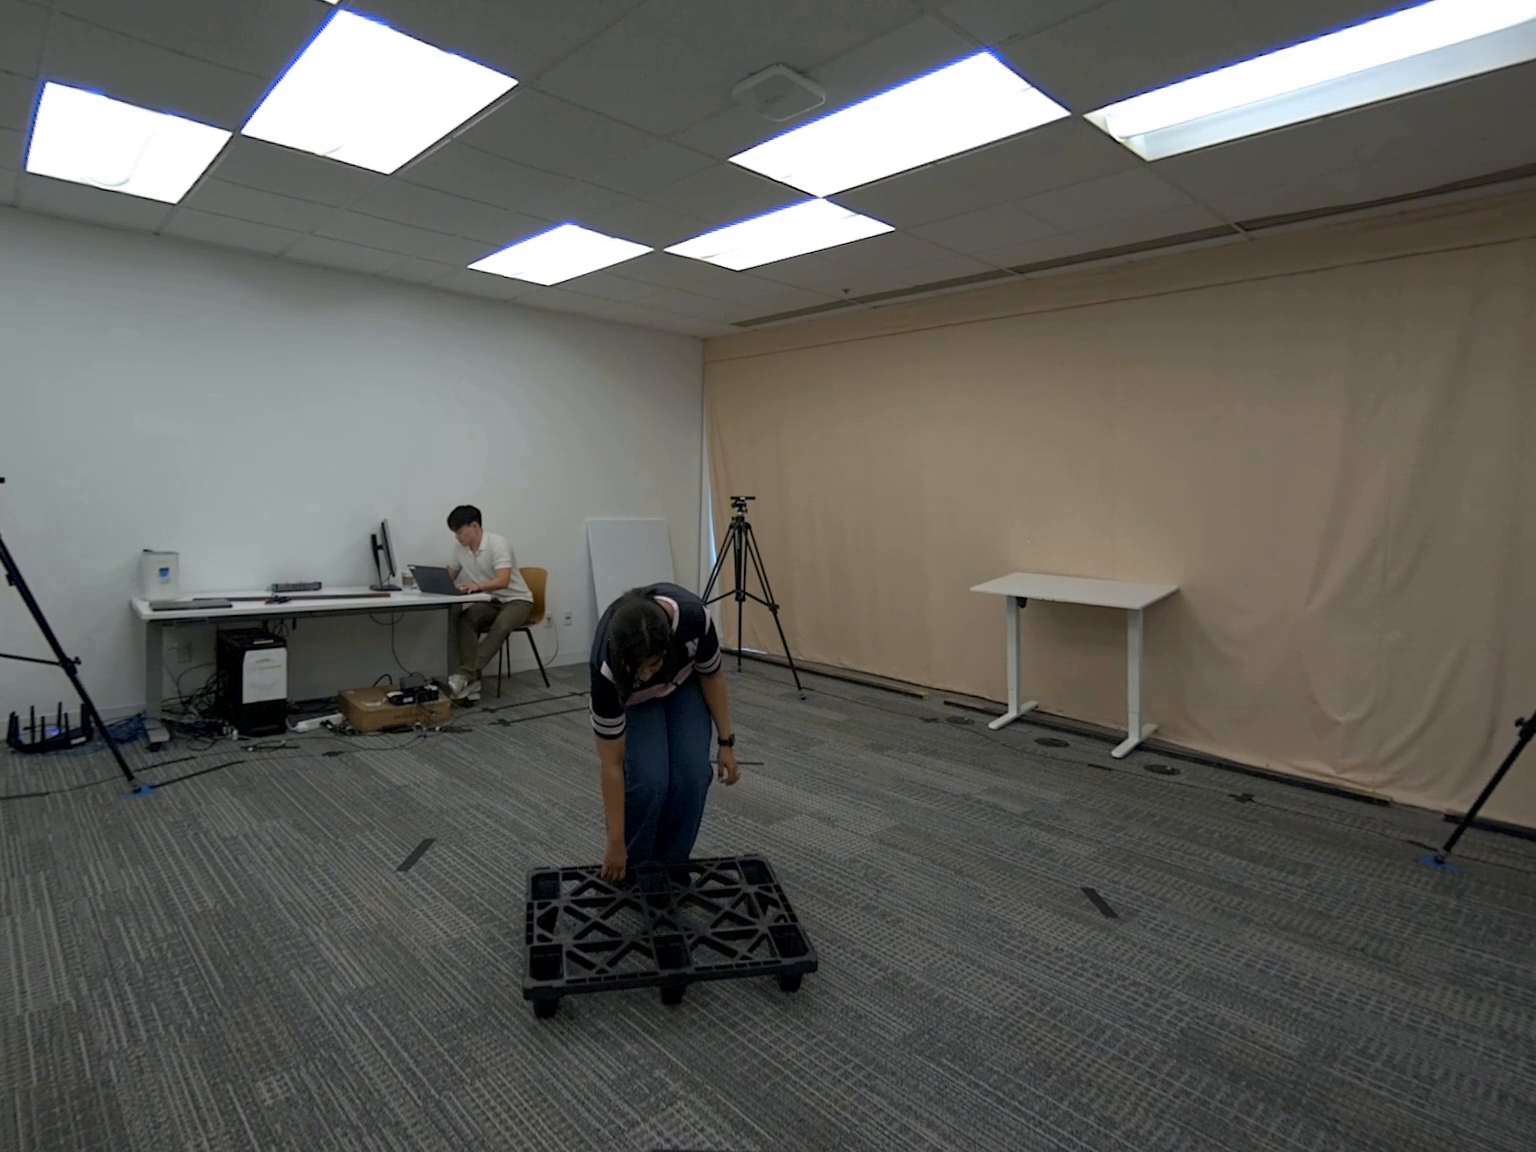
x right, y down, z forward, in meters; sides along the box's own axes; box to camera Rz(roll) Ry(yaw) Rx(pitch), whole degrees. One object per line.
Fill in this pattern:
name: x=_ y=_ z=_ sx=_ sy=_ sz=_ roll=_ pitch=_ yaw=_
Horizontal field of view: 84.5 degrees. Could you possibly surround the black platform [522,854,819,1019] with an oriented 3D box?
black platform: x=-0.324 y=1.062 z=2.525 sx=0.797 sy=0.142 sz=0.615 roll=1 pitch=9 yaw=-13
